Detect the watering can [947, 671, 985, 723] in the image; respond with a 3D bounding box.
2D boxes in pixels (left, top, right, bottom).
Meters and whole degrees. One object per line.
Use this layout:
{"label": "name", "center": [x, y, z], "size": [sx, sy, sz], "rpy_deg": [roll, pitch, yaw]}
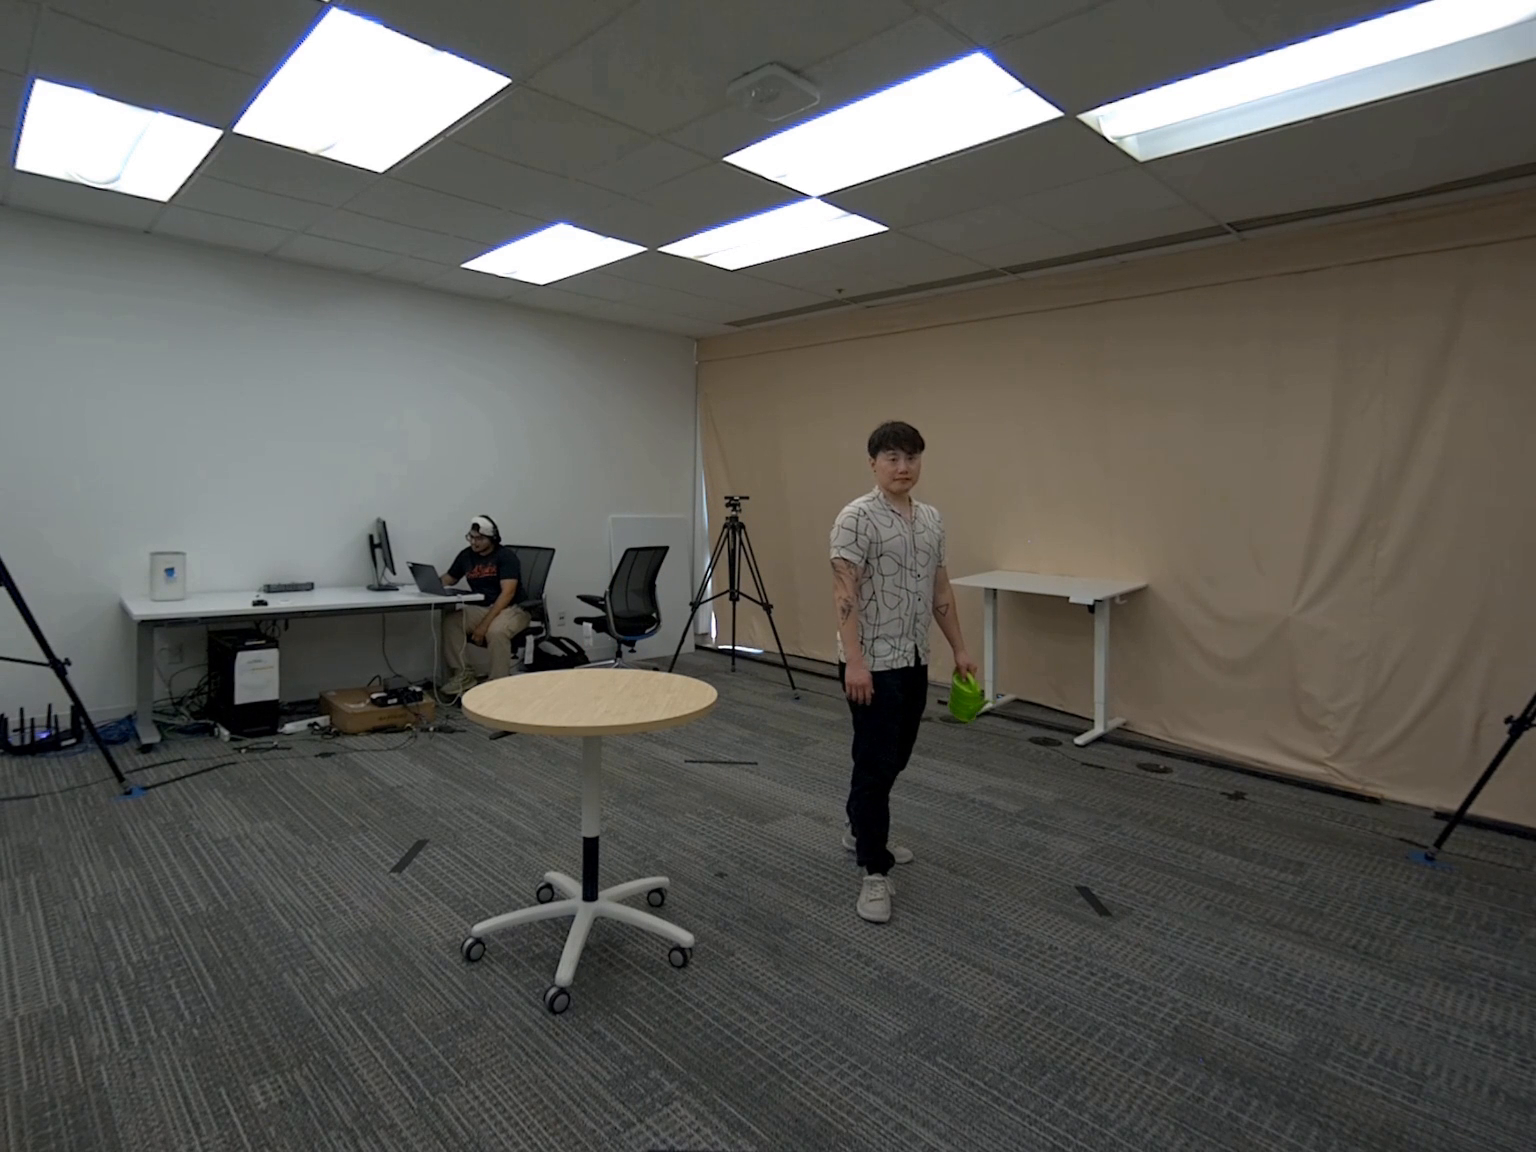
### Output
{"label": "watering can", "center": [0.732, 0.460, 3.089], "size": [0.098, 0.174, 0.283], "rpy_deg": [1, 26, -4]}
